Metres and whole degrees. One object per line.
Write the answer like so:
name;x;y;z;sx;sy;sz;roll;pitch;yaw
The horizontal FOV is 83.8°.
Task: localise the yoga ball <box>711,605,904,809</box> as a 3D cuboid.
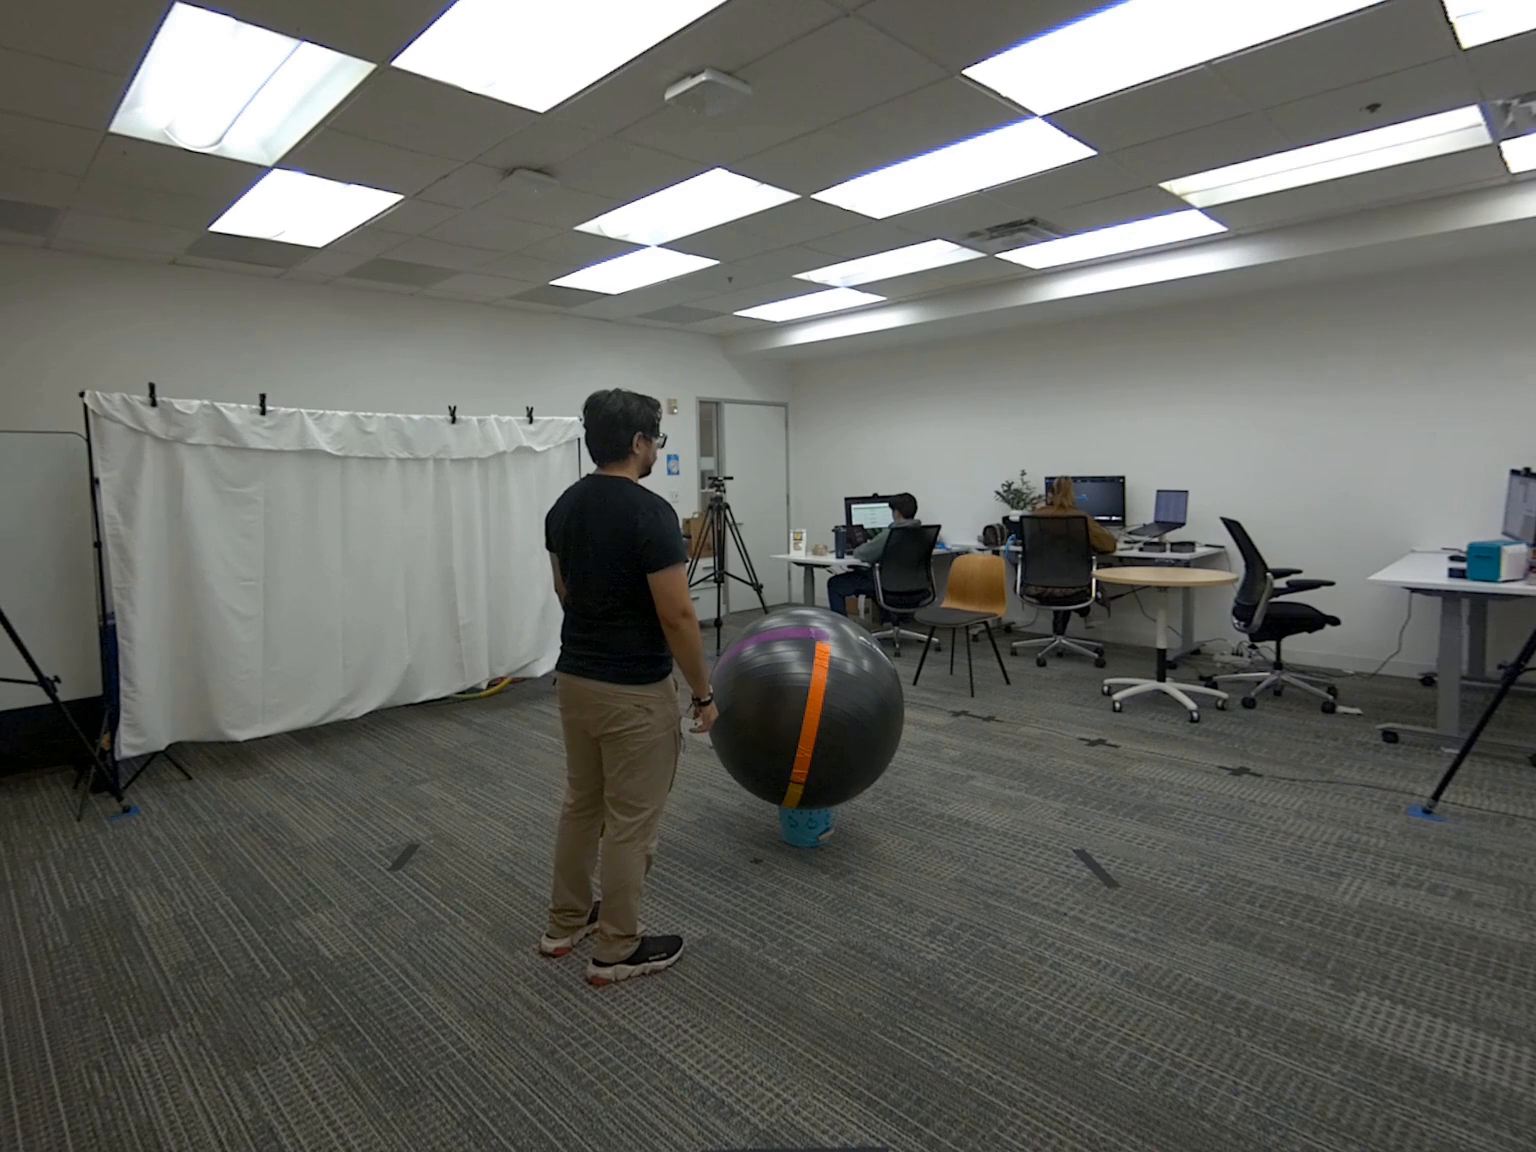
yoga ball;0.137;0.505;3.282;0.757;0.755;0.762;-1;5;-2
